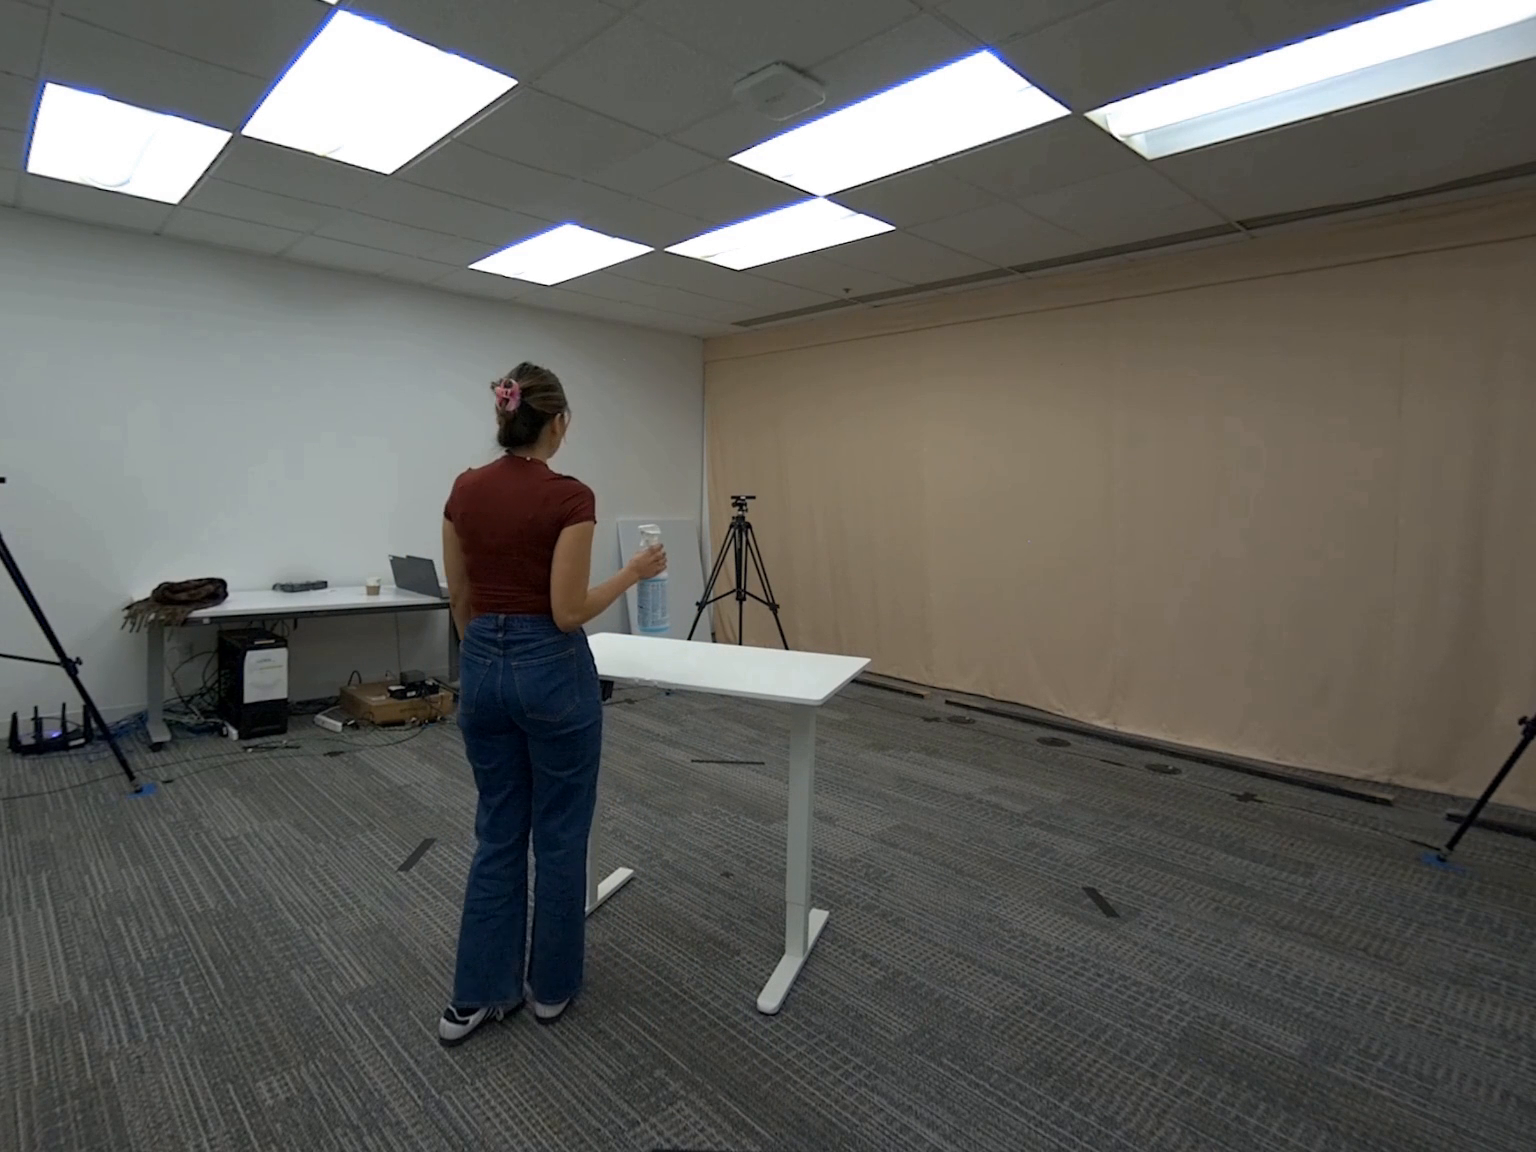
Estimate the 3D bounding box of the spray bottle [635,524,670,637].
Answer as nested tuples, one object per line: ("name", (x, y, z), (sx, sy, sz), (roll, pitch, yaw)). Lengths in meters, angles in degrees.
("spray bottle", (-0.327, 0.009, 2.306), (0.088, 0.296, 0.089), (-5, 7, -36))
